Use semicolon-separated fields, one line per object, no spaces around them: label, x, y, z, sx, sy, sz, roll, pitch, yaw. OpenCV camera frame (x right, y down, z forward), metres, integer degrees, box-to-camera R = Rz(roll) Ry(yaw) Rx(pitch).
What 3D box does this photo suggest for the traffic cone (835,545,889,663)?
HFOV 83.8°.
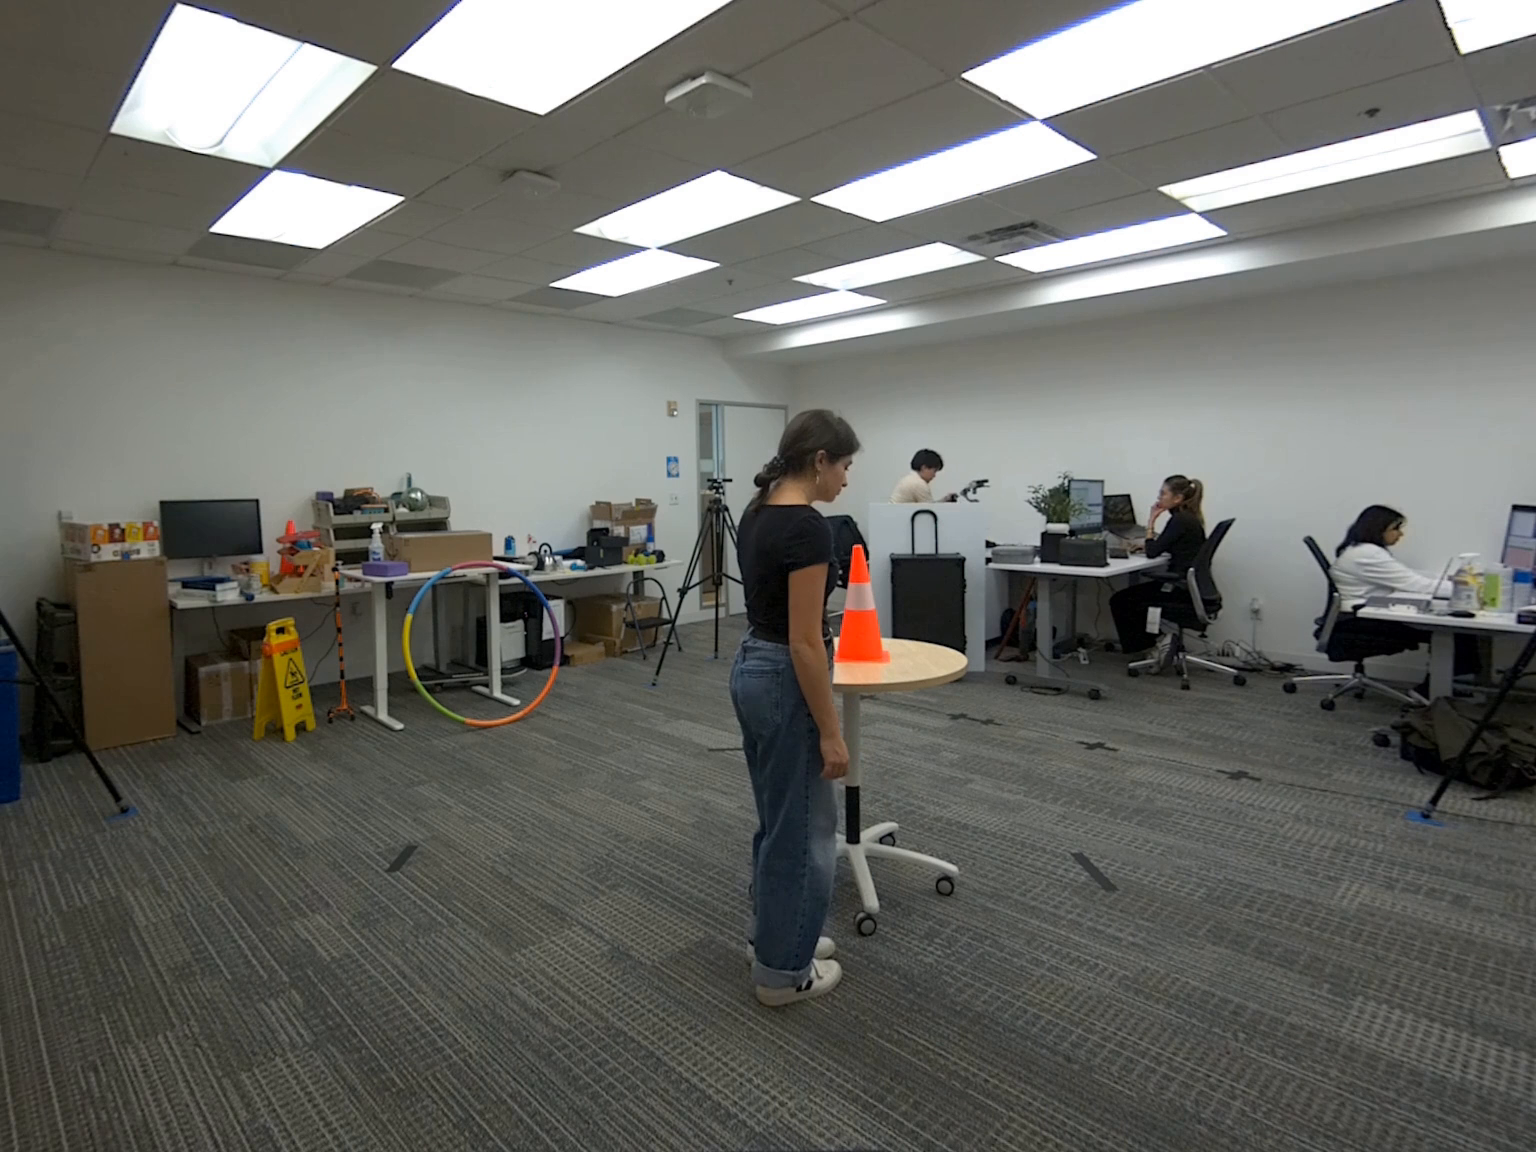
traffic cone;0.315;0.092;2.914;0.204;0.382;0.205;-1;5;3
